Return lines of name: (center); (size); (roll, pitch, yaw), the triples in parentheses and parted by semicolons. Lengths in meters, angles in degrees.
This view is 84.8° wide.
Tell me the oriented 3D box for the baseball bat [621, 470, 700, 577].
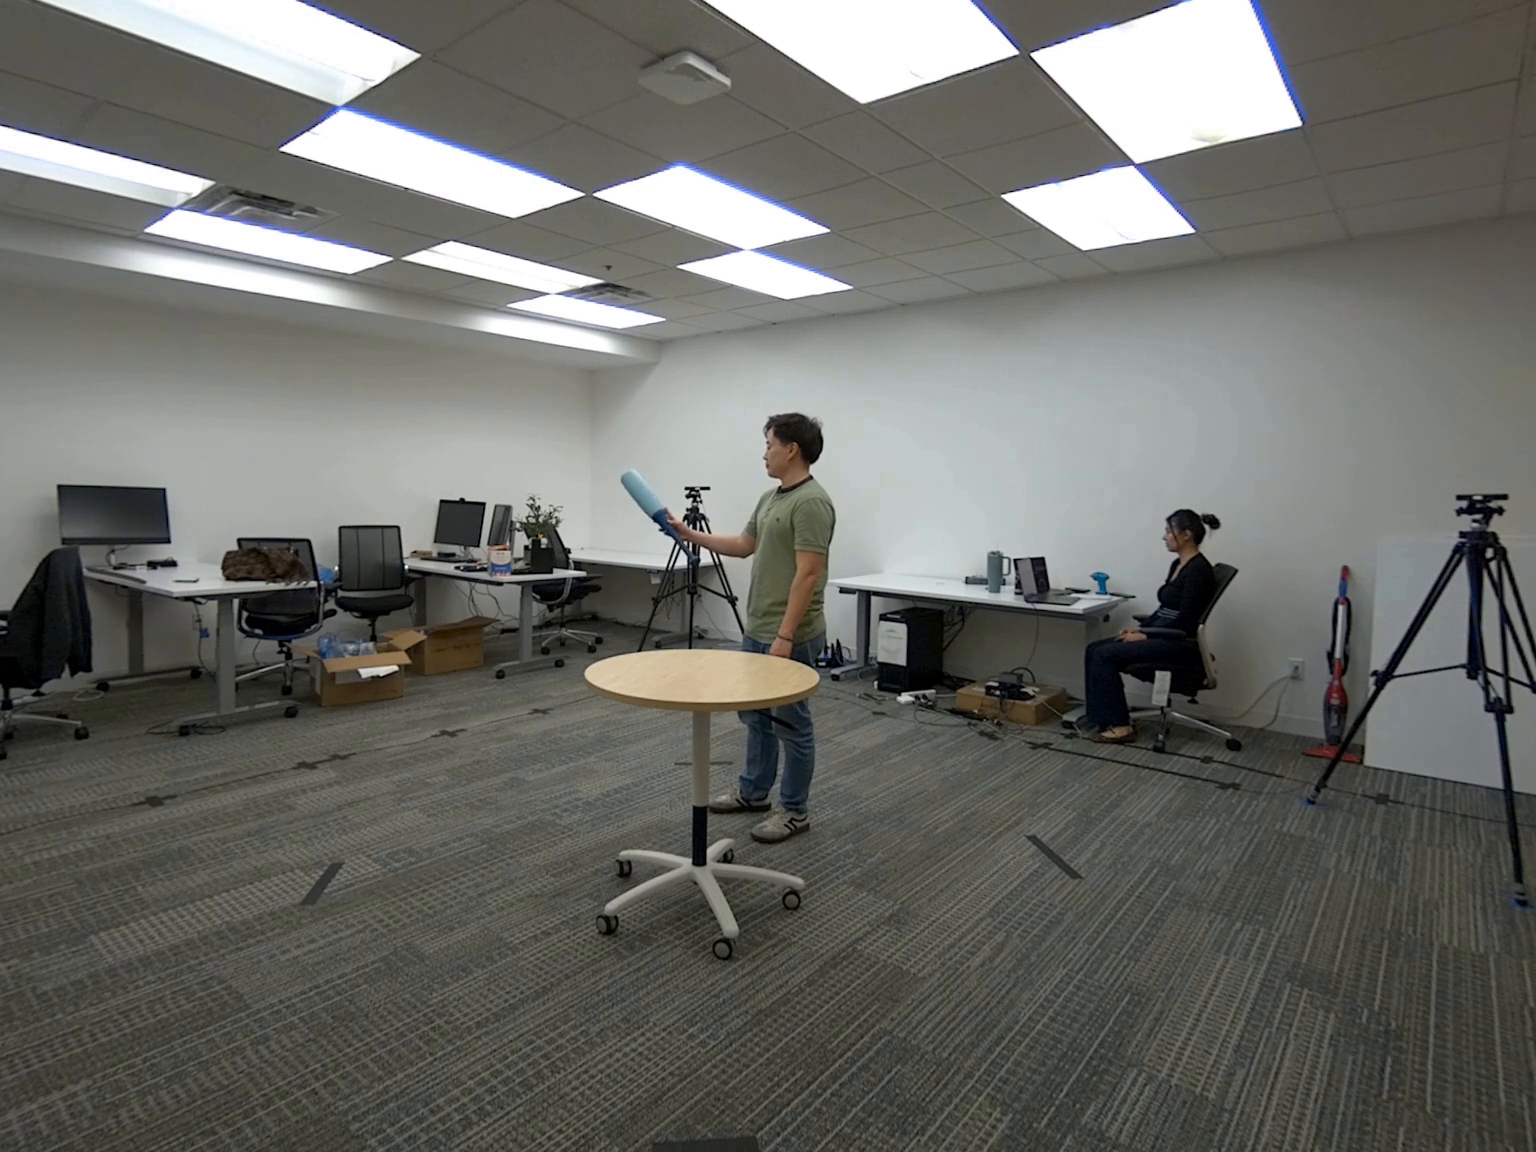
baseball bat: (-0.464, -0.250, 3.633); (0.560, 0.089, 0.086); (51, 28, 23)
